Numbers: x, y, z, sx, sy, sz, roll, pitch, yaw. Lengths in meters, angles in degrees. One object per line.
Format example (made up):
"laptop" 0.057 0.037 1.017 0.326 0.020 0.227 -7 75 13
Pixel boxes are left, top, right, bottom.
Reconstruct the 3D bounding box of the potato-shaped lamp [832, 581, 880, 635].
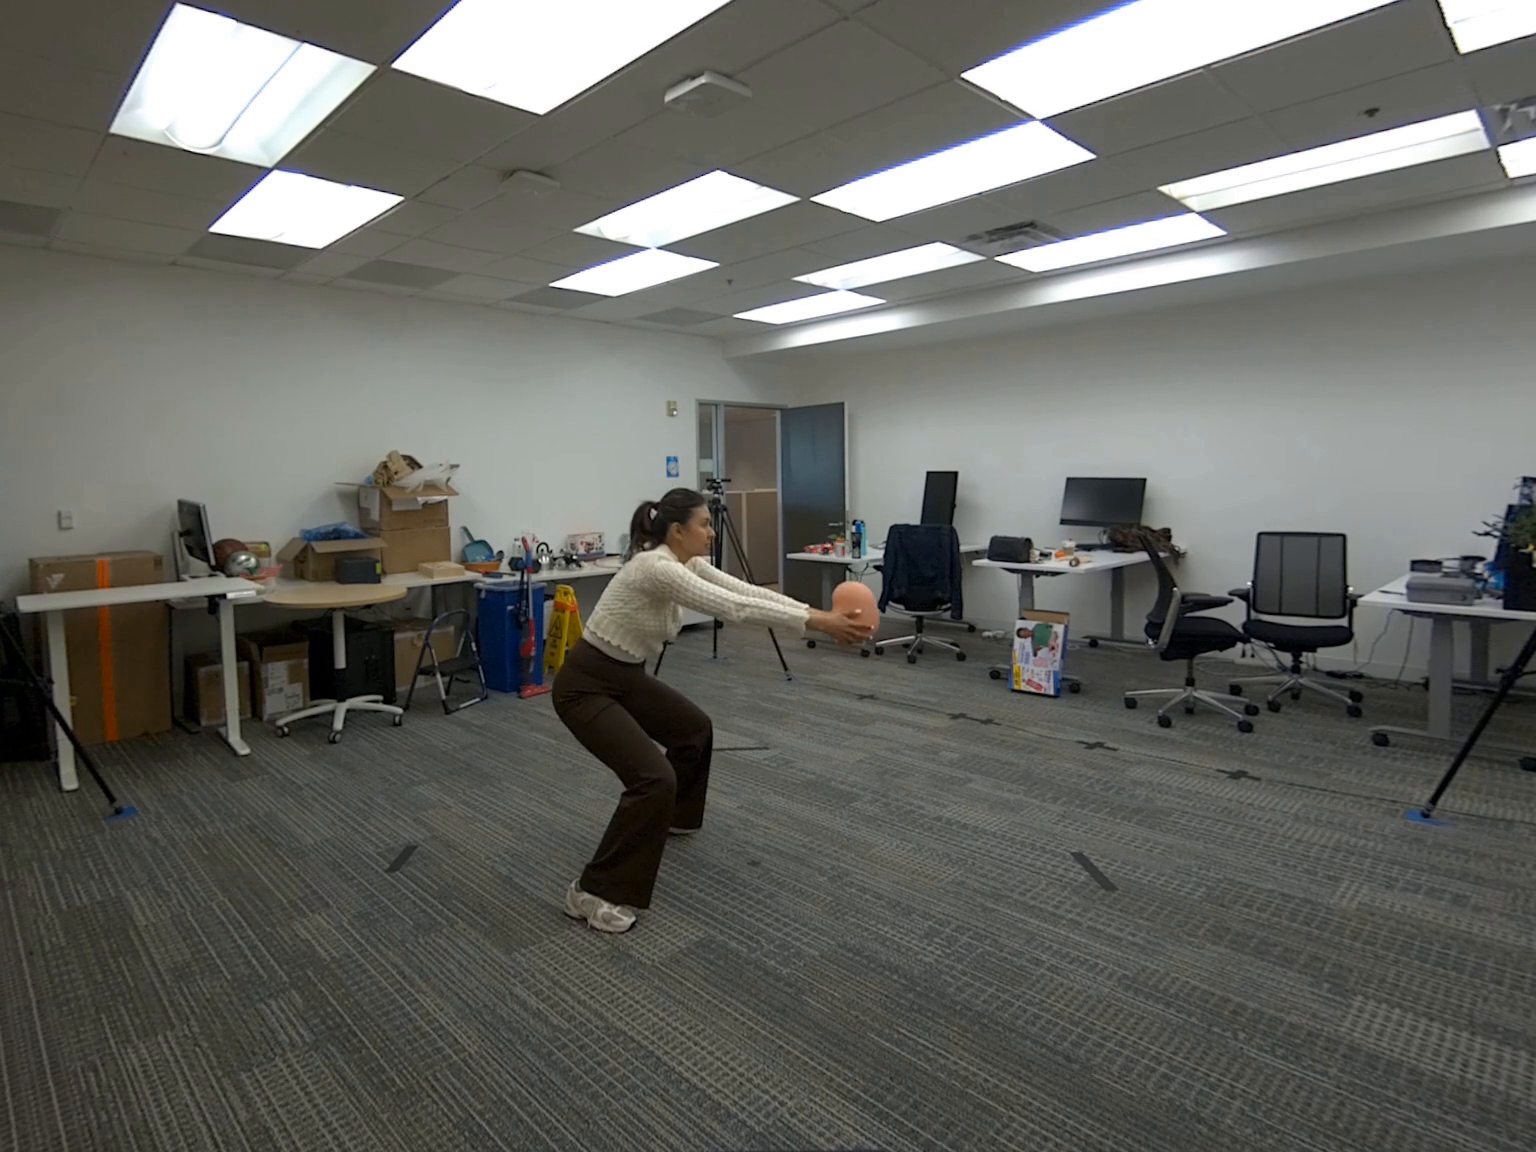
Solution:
"potato-shaped lamp" 0.281 0.112 2.865 0.162 0.197 0.175 -5 5 -22
